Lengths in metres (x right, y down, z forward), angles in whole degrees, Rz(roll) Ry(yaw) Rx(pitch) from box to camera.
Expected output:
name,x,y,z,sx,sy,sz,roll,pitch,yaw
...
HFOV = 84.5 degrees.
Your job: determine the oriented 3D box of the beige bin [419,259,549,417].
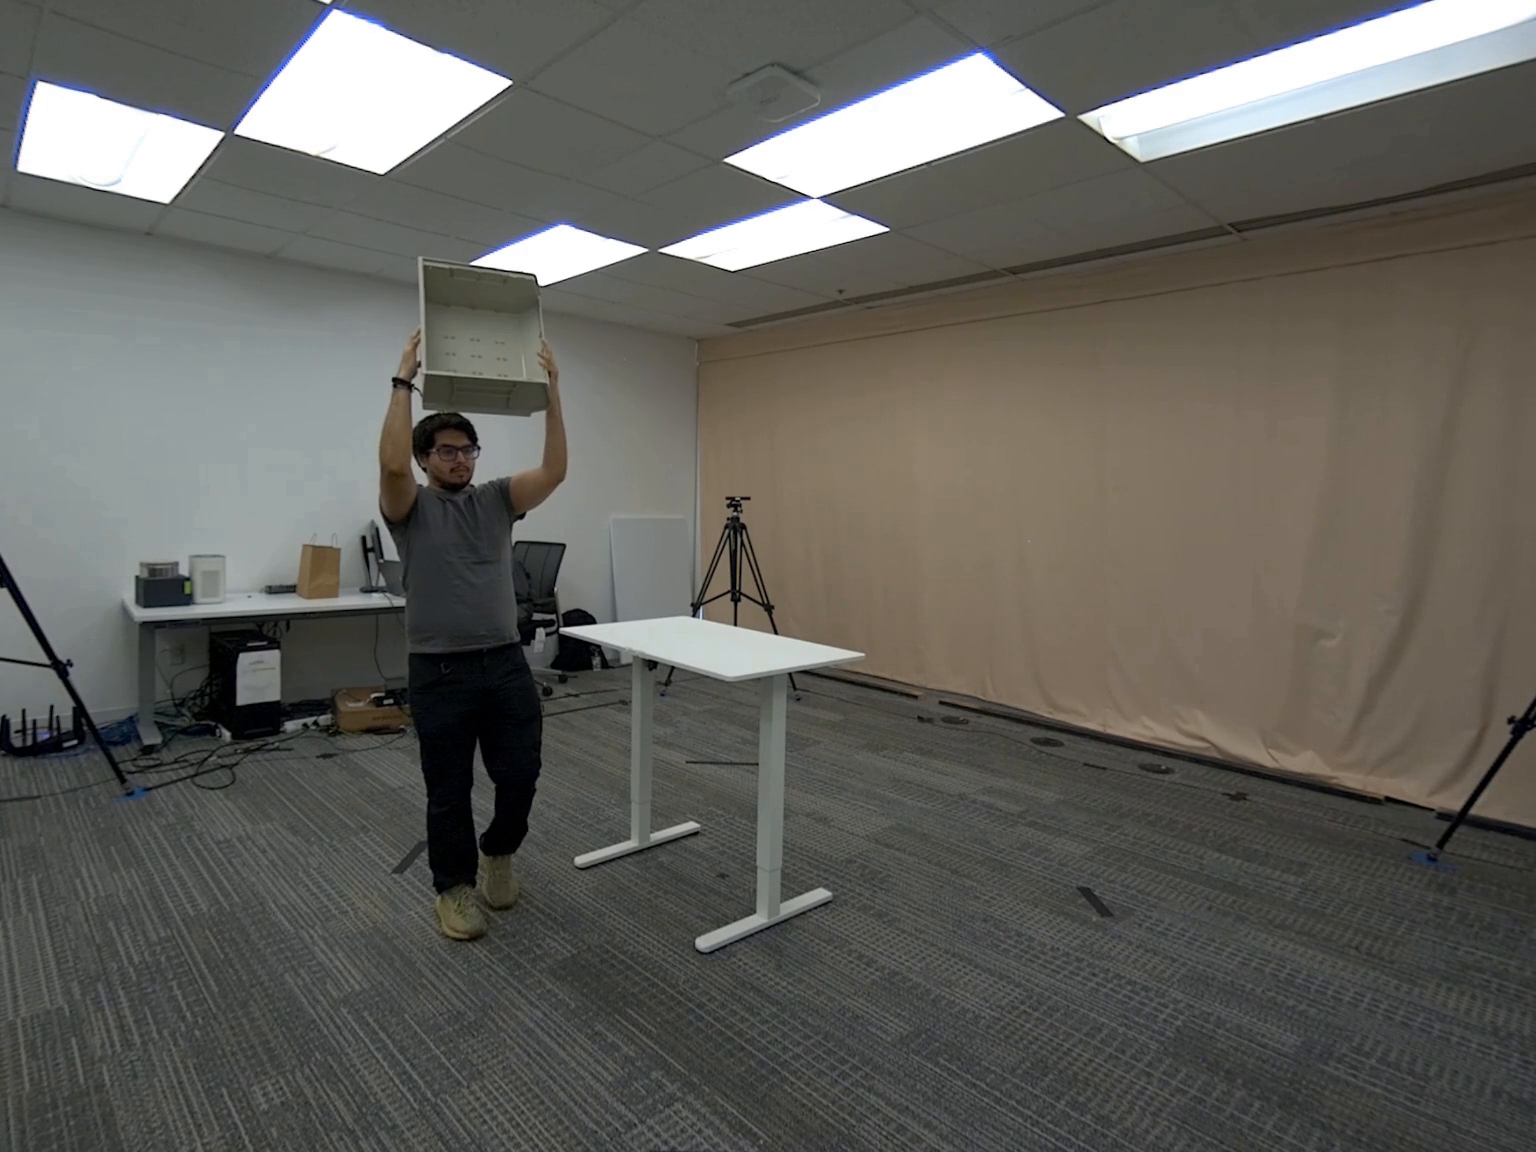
name,x,y,z,sx,sy,sz,roll,pitch,yaw
beige bin,-0.857,-0.713,2.524,0.371,0.430,0.188,0,-26,-25
